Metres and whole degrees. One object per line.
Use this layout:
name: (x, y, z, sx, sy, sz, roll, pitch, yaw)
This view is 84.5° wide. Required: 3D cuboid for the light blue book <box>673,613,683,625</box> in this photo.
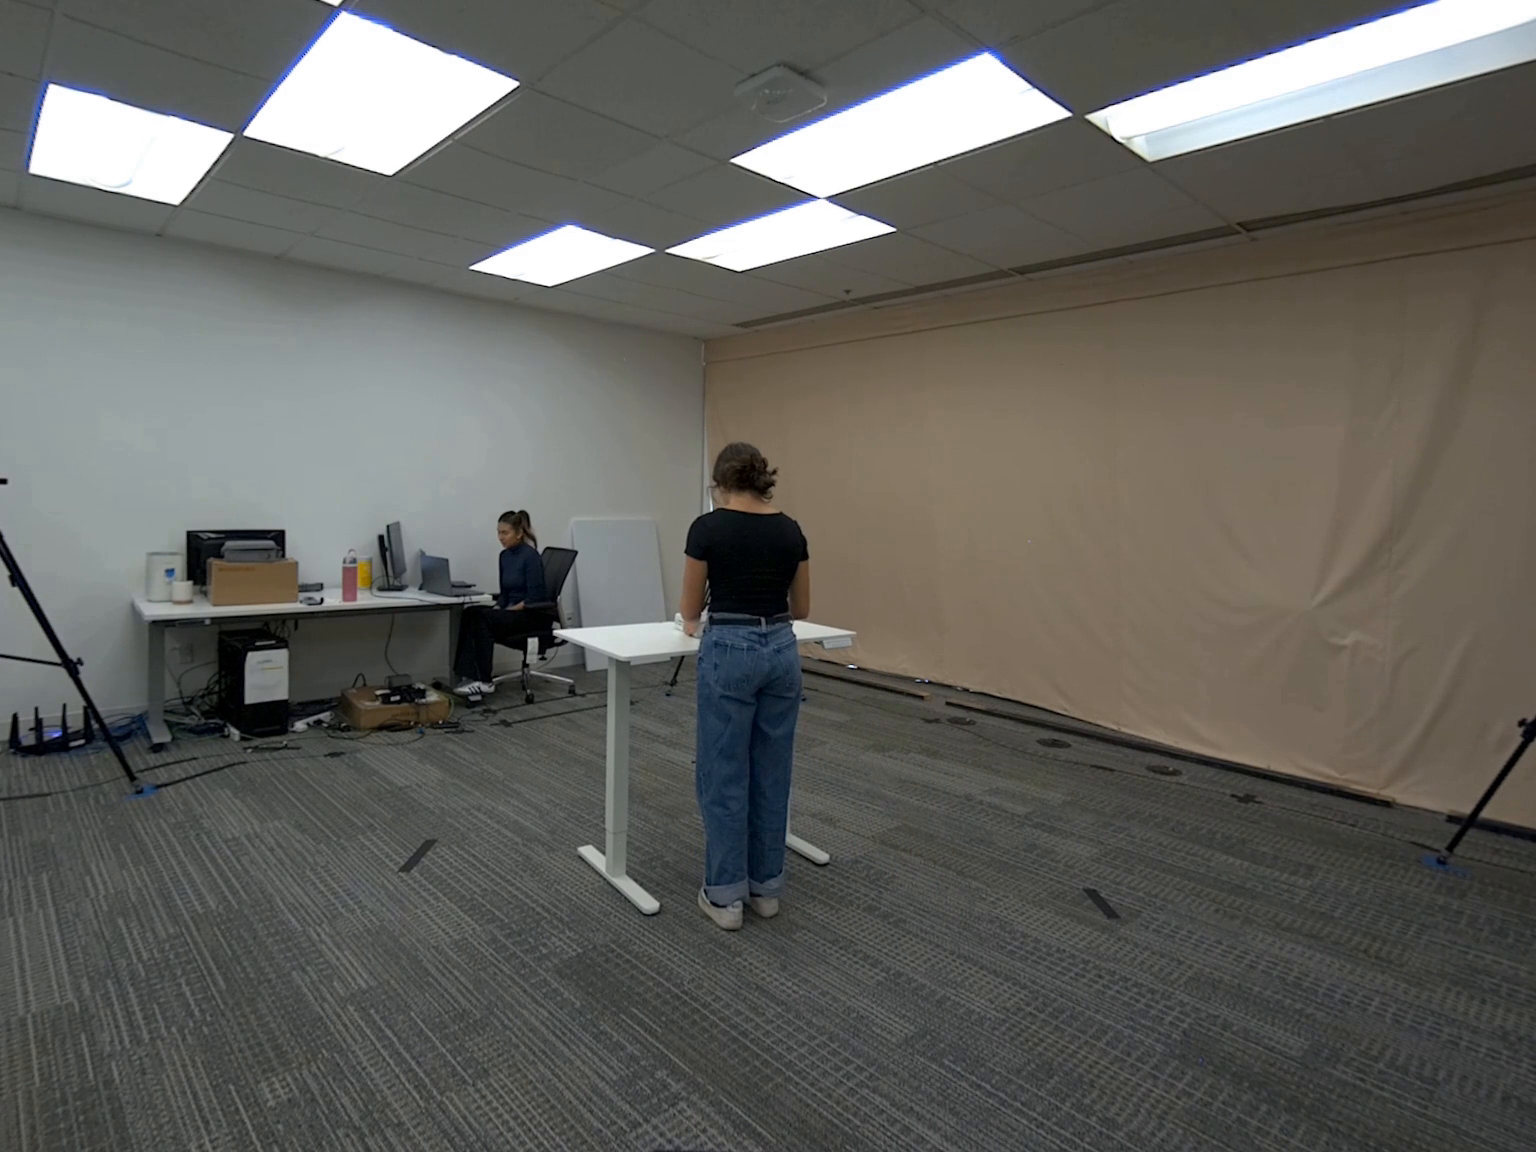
light blue book: (-0.222, 0.186, 3.200, 0.188, 0.059, 0.266, -3, 6, -23)
